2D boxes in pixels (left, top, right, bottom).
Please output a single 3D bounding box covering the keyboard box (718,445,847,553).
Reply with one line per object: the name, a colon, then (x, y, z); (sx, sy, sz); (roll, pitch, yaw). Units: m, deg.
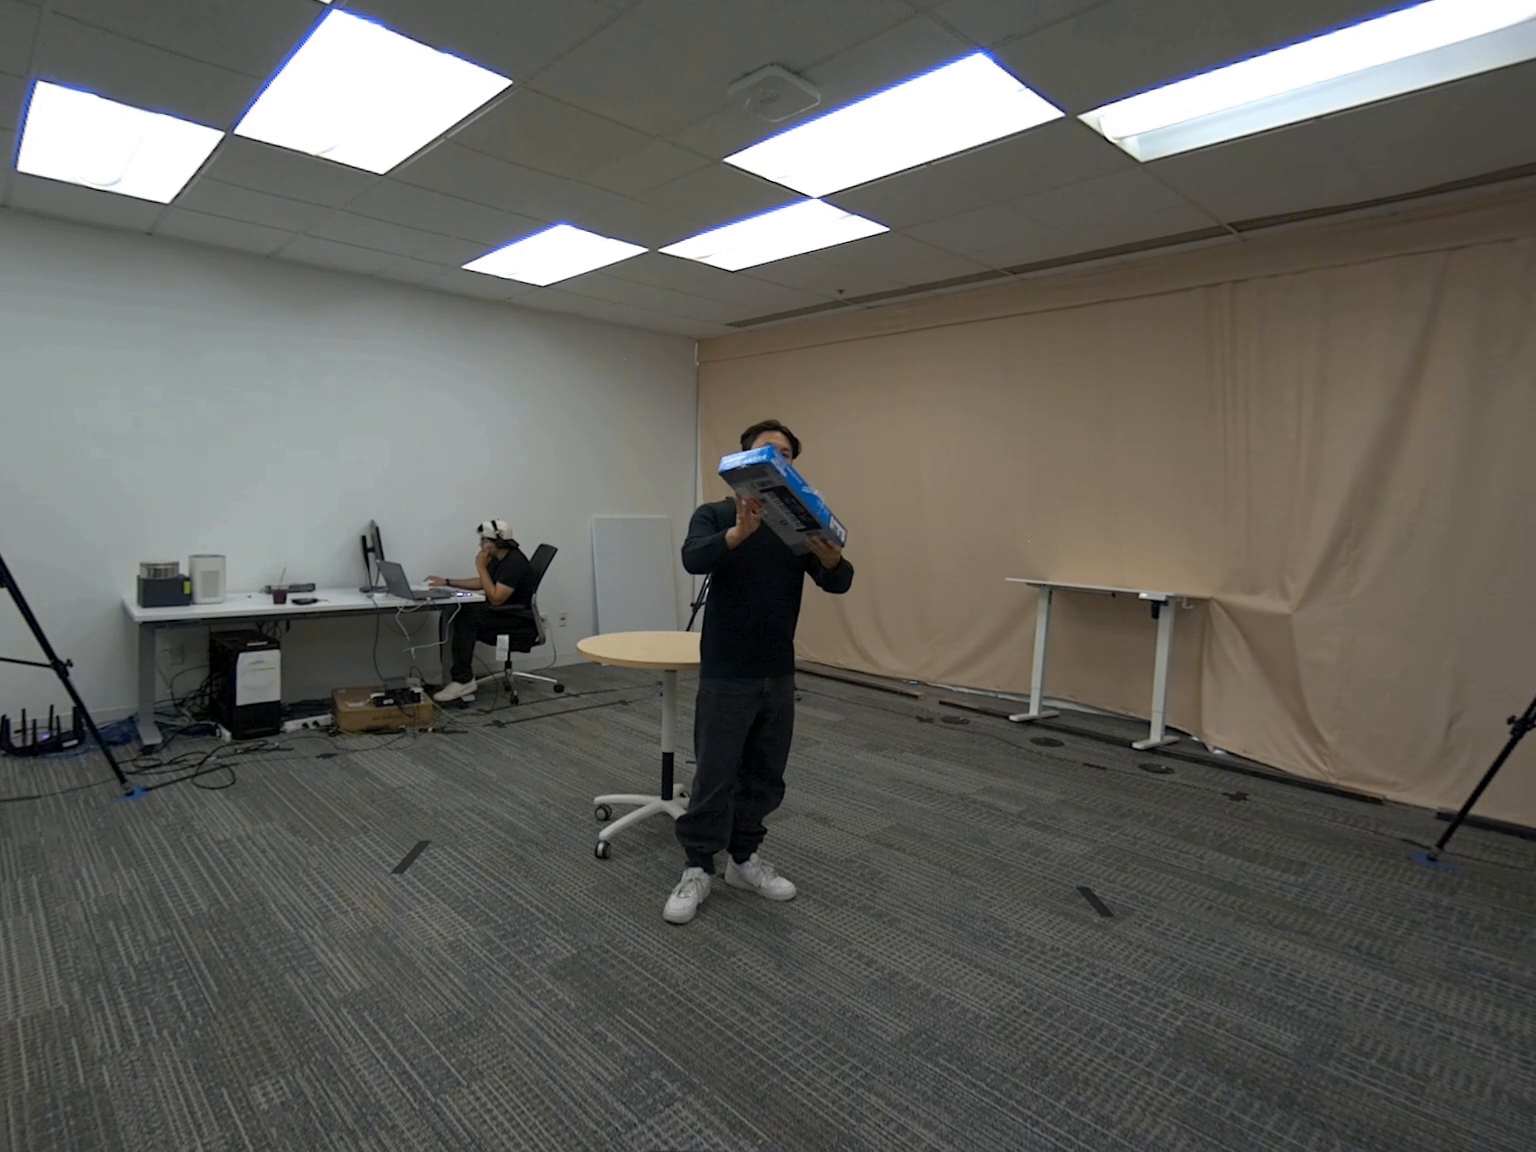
keyboard box: (0.043, -0.206, 2.422); (0.179, 0.060, 0.423); (-8, -35, 34)
